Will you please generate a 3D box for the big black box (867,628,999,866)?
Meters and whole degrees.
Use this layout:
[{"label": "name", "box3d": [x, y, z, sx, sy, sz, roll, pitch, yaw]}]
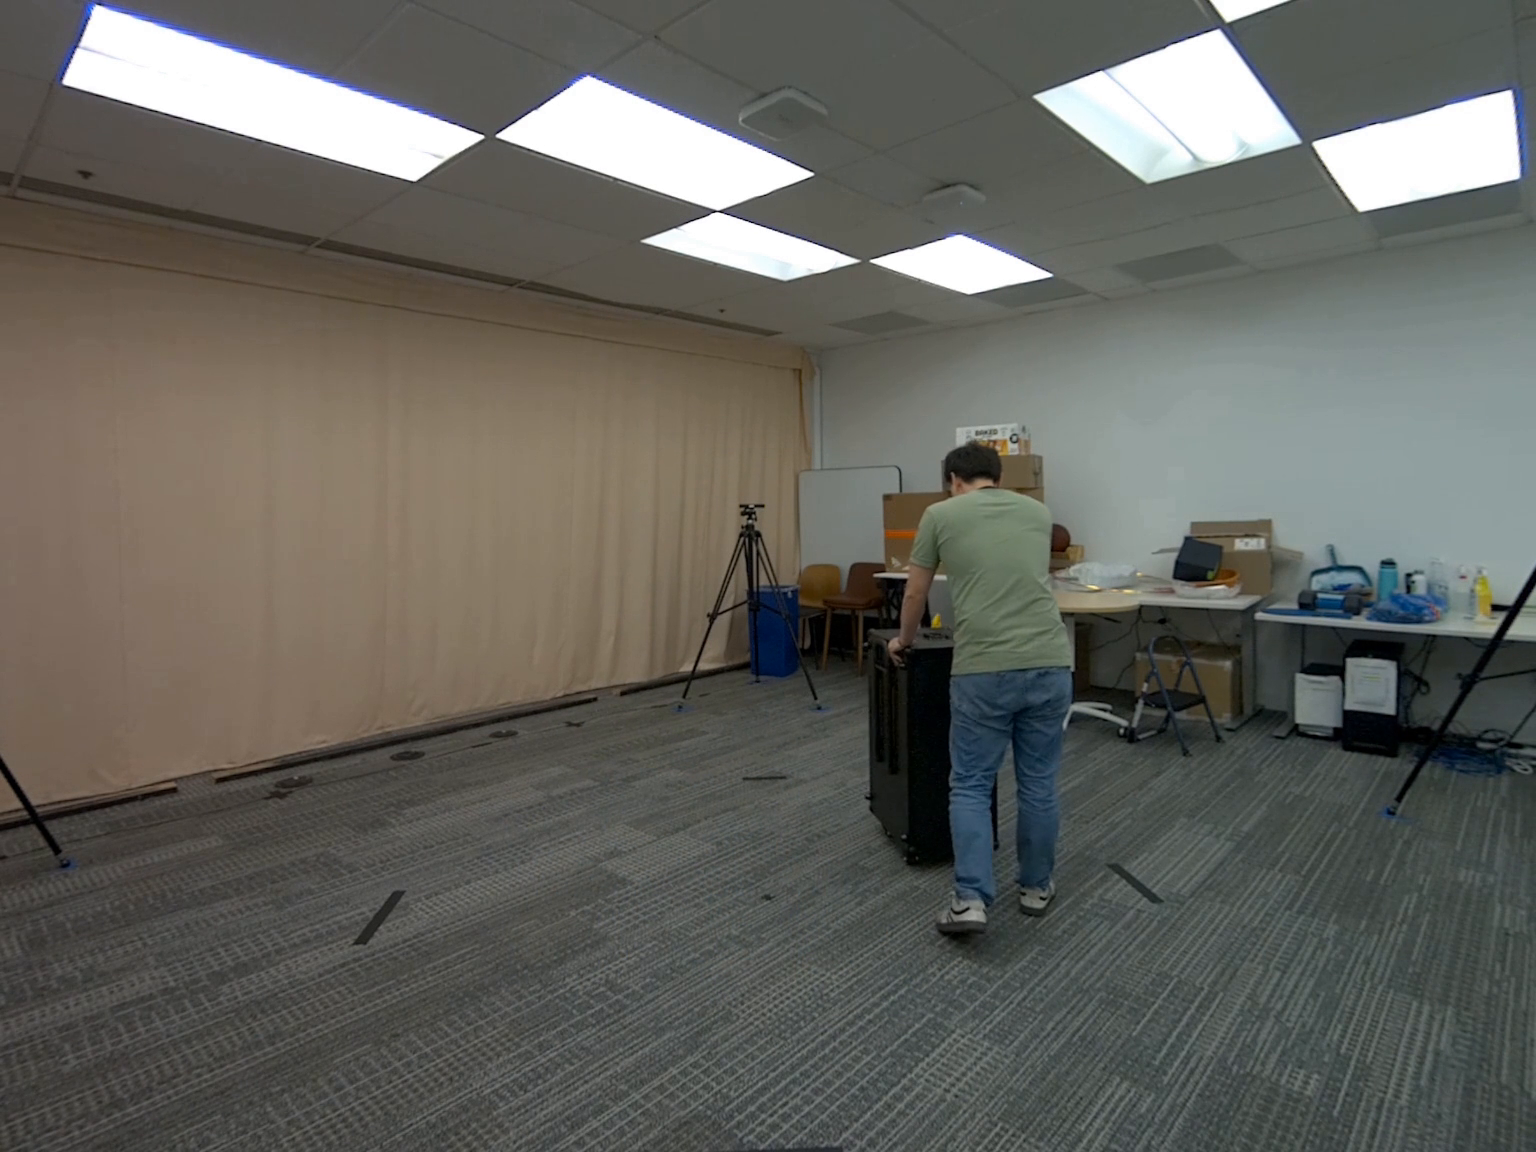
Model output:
[{"label": "big black box", "box3d": [0.645, 0.674, 3.384, 0.393, 0.859, 0.527, -2, 3, -8]}]
